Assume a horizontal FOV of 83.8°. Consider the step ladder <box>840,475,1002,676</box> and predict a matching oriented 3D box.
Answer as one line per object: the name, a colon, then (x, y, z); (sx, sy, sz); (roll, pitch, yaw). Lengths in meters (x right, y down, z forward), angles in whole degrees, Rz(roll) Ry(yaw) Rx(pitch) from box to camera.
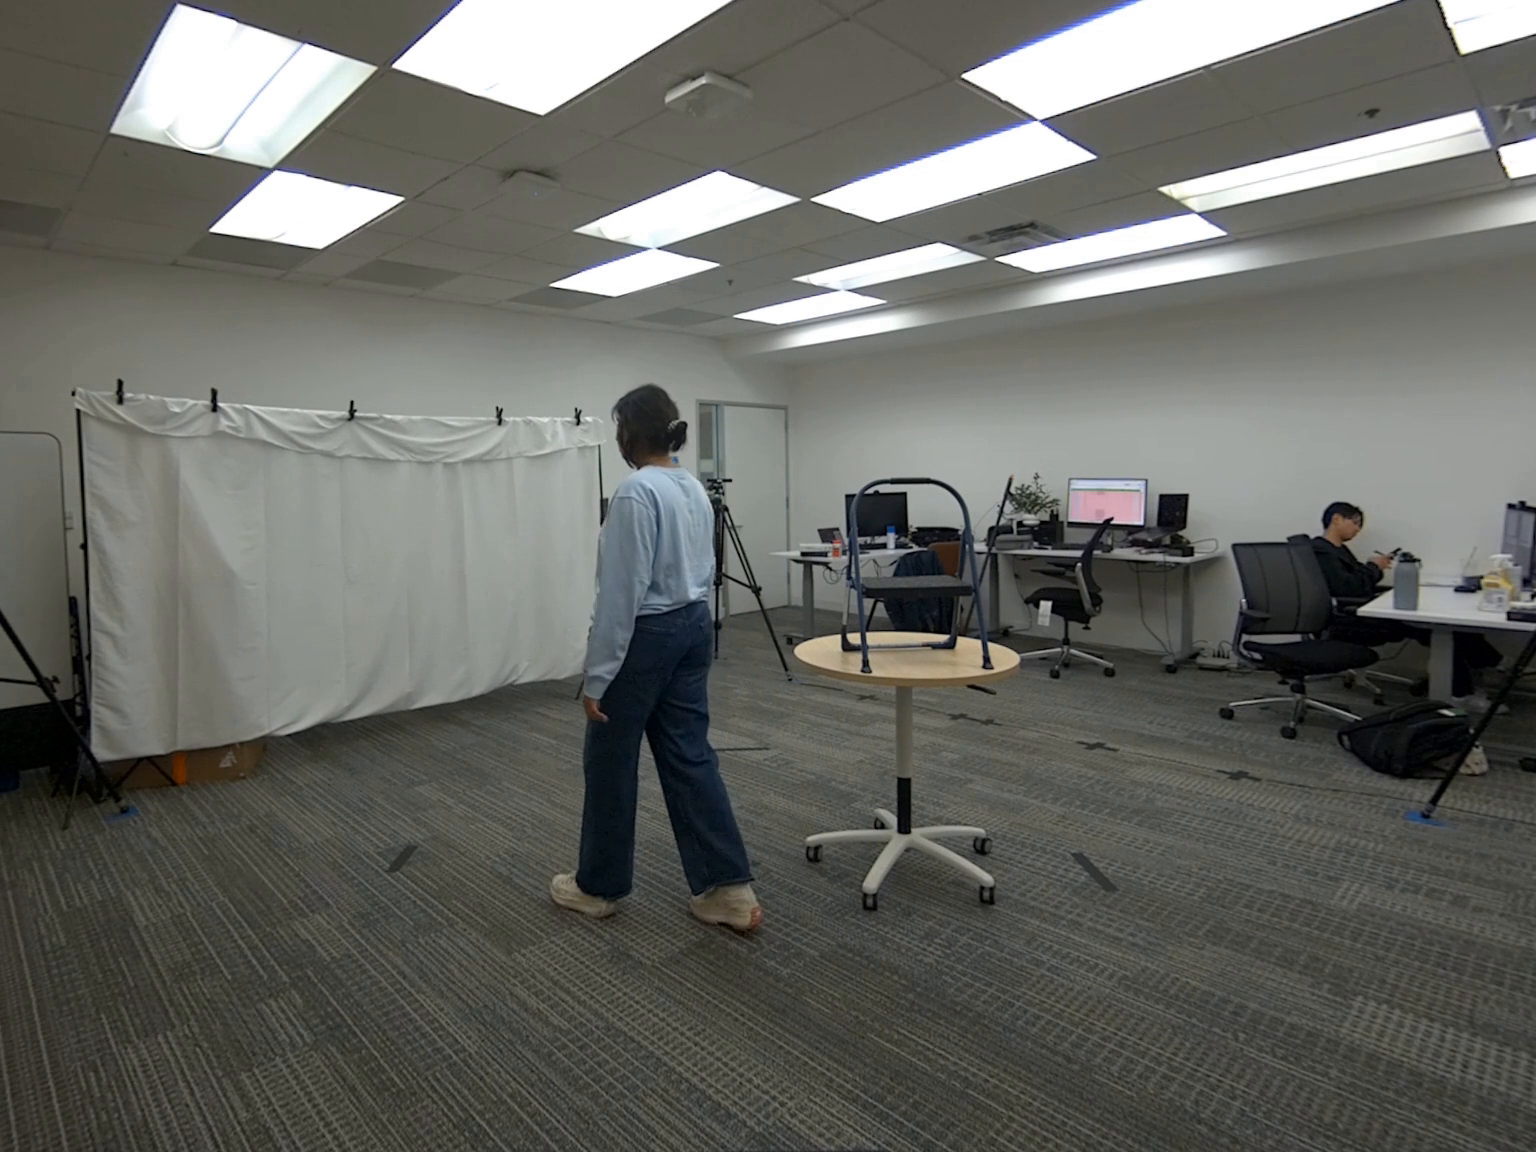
step ladder: (0.490, -0.022, 2.843); (0.428, 0.603, 0.353); (-1, 6, -6)
